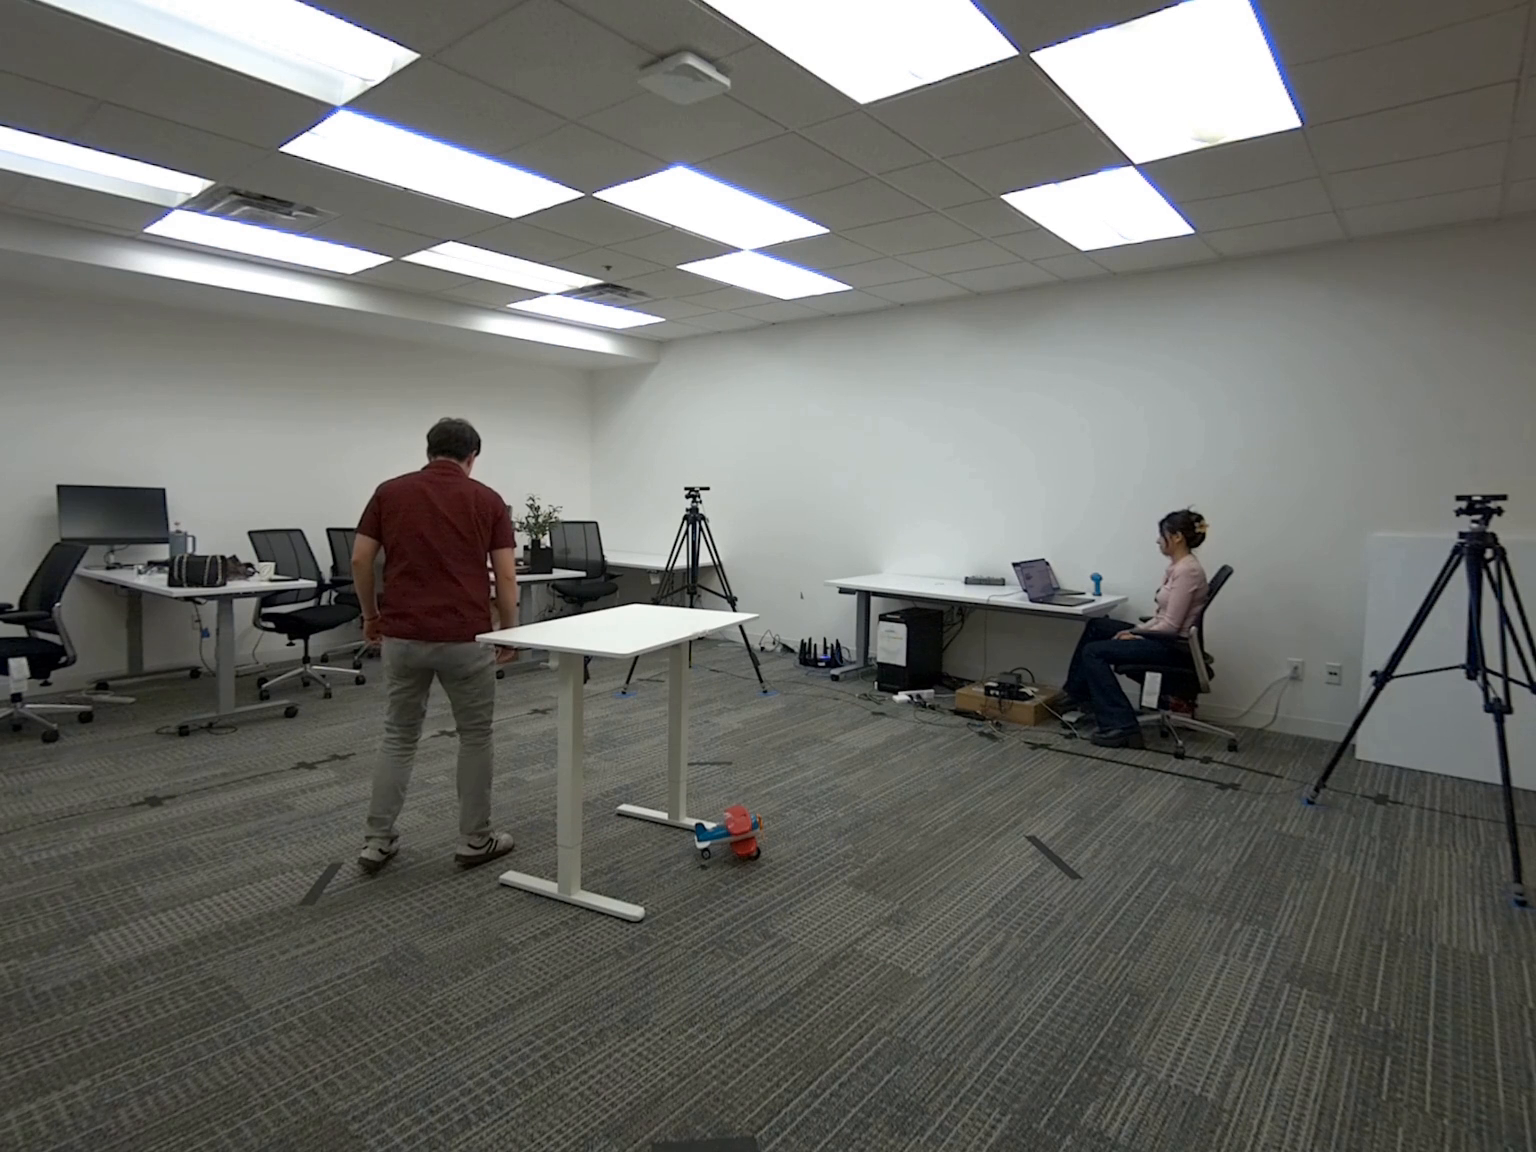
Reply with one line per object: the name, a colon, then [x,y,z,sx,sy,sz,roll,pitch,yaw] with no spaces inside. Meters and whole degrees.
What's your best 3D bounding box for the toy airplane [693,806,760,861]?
toy airplane: [-0.150,0.982,3.205,0.252,0.156,0.259,-1,5,-35]
